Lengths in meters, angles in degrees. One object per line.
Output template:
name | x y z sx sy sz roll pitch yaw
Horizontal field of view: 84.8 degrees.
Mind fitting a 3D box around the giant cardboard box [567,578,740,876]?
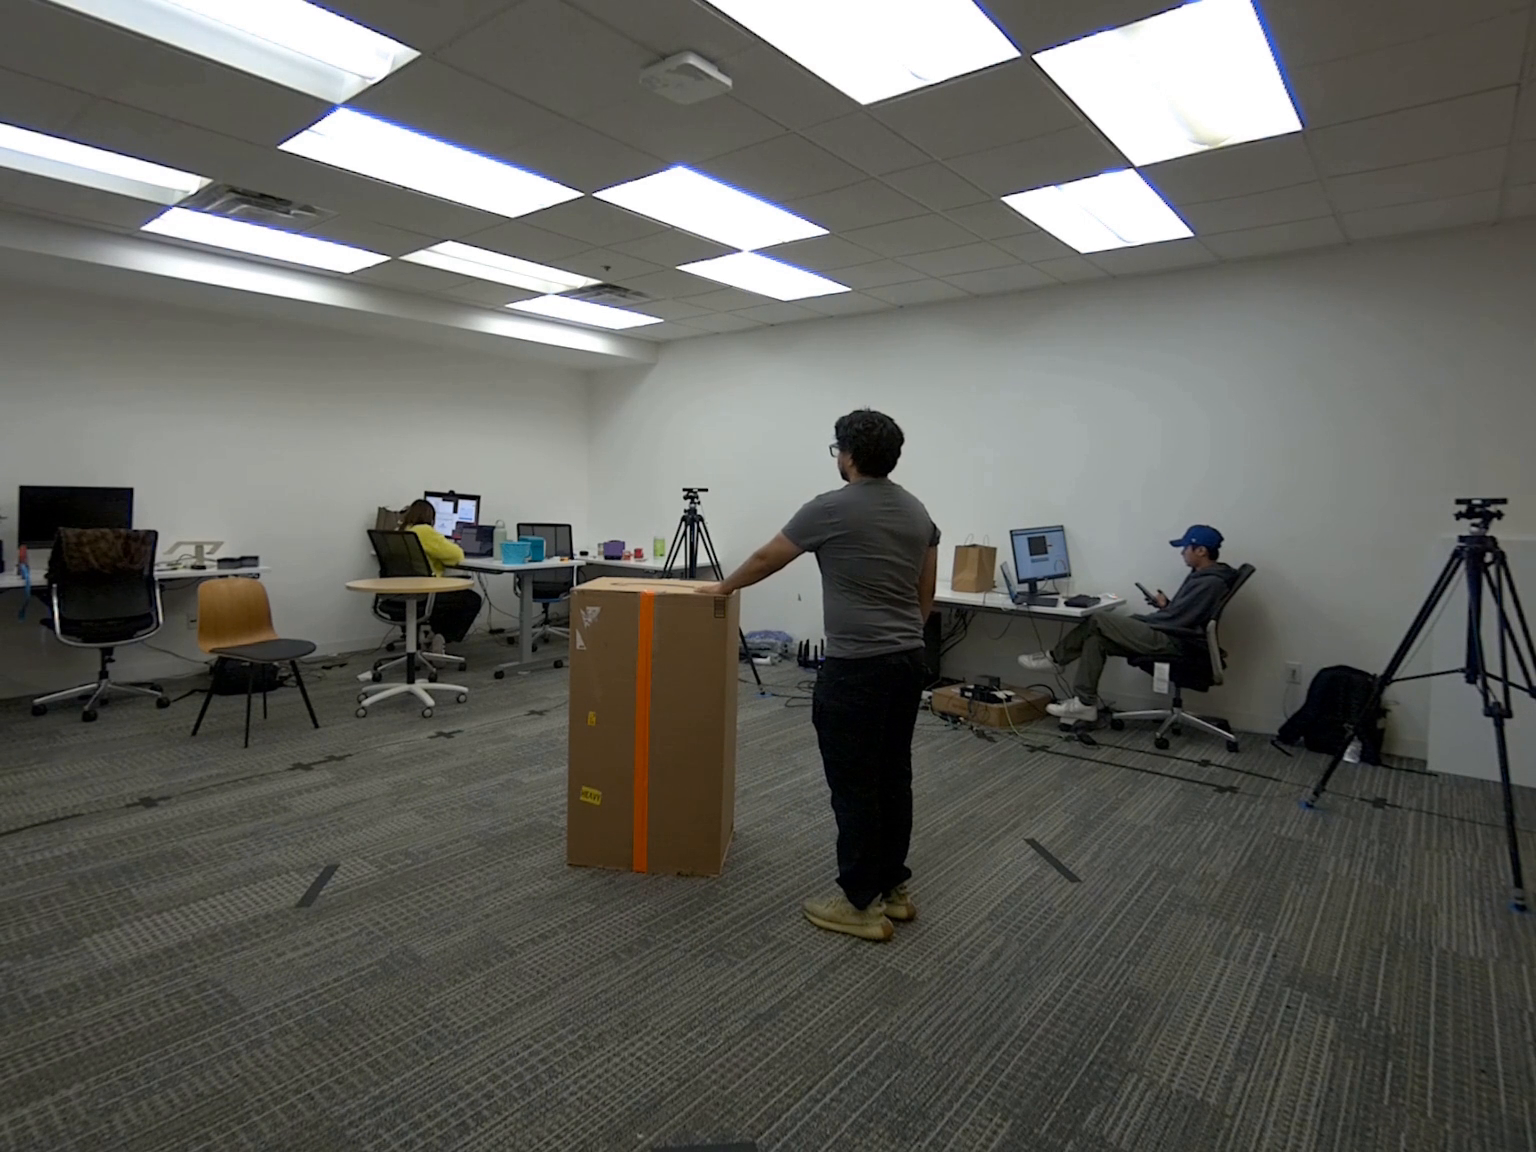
giant cardboard box | -0.436 0.540 3.258 0.583 1.023 0.424 2 3 7
